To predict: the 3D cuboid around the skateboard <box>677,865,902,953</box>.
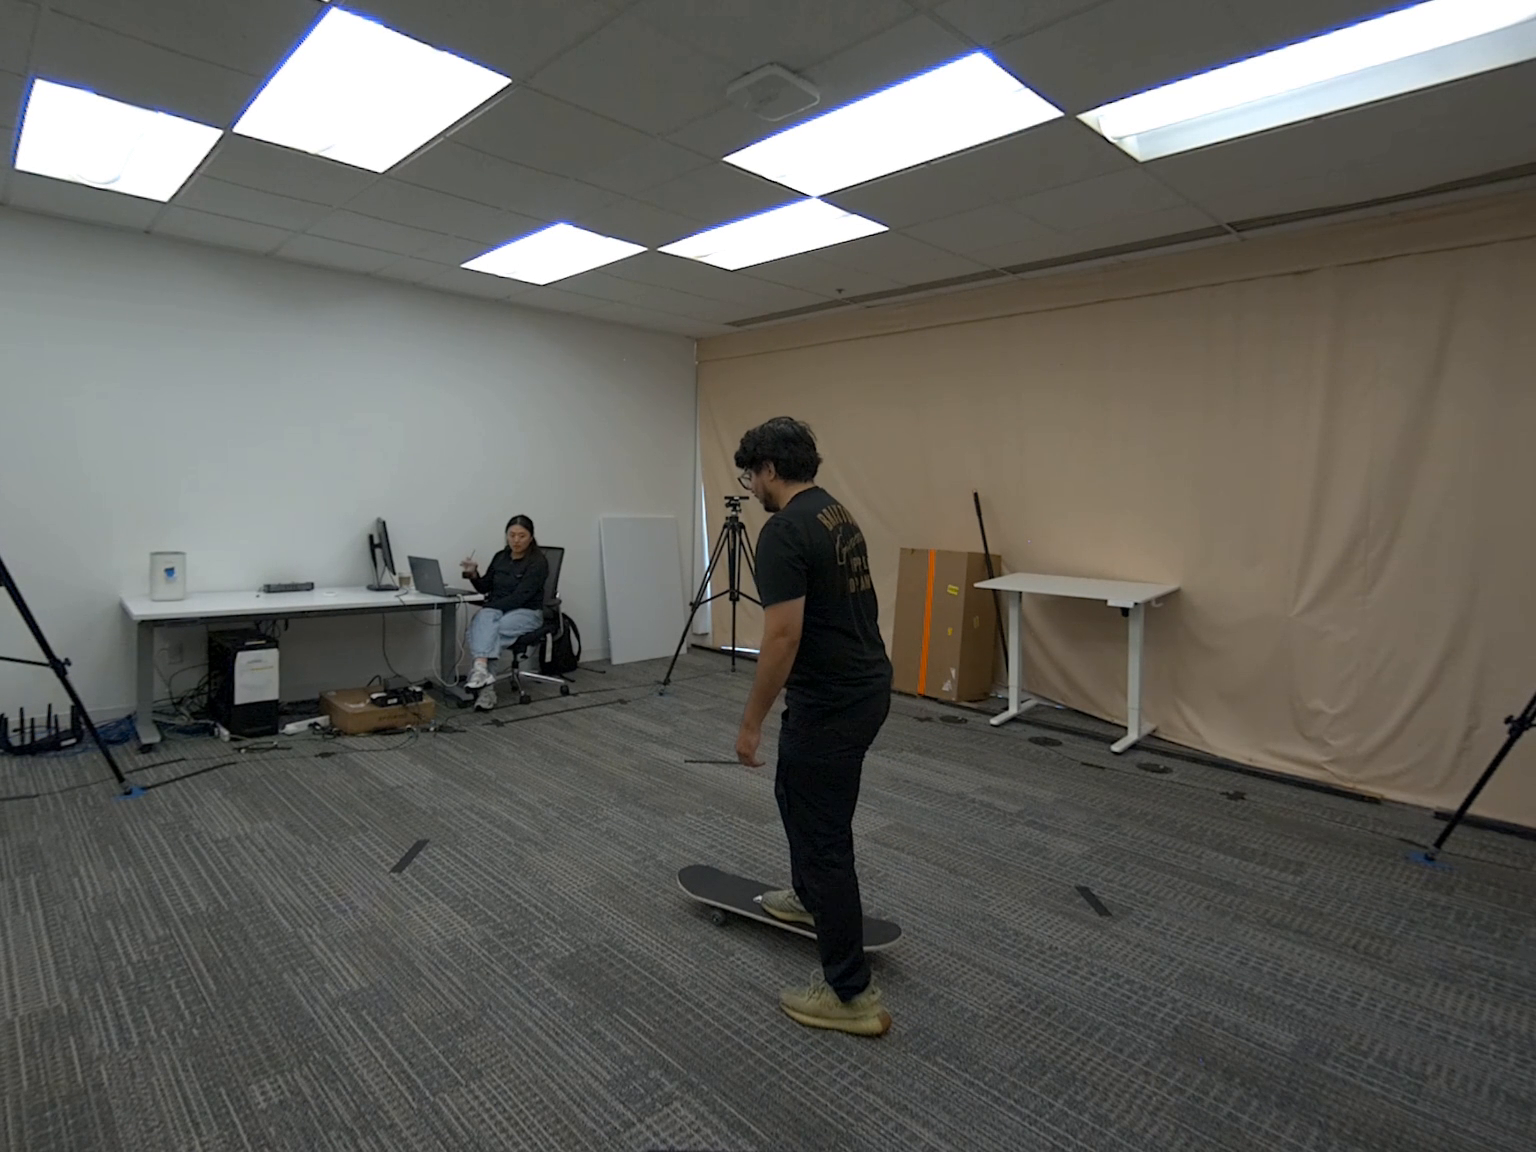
[{"bbox_3d":[0.040,1.091,2.692,0.803,0.110,0.190,4,8,31],"label":"skateboard"}]
